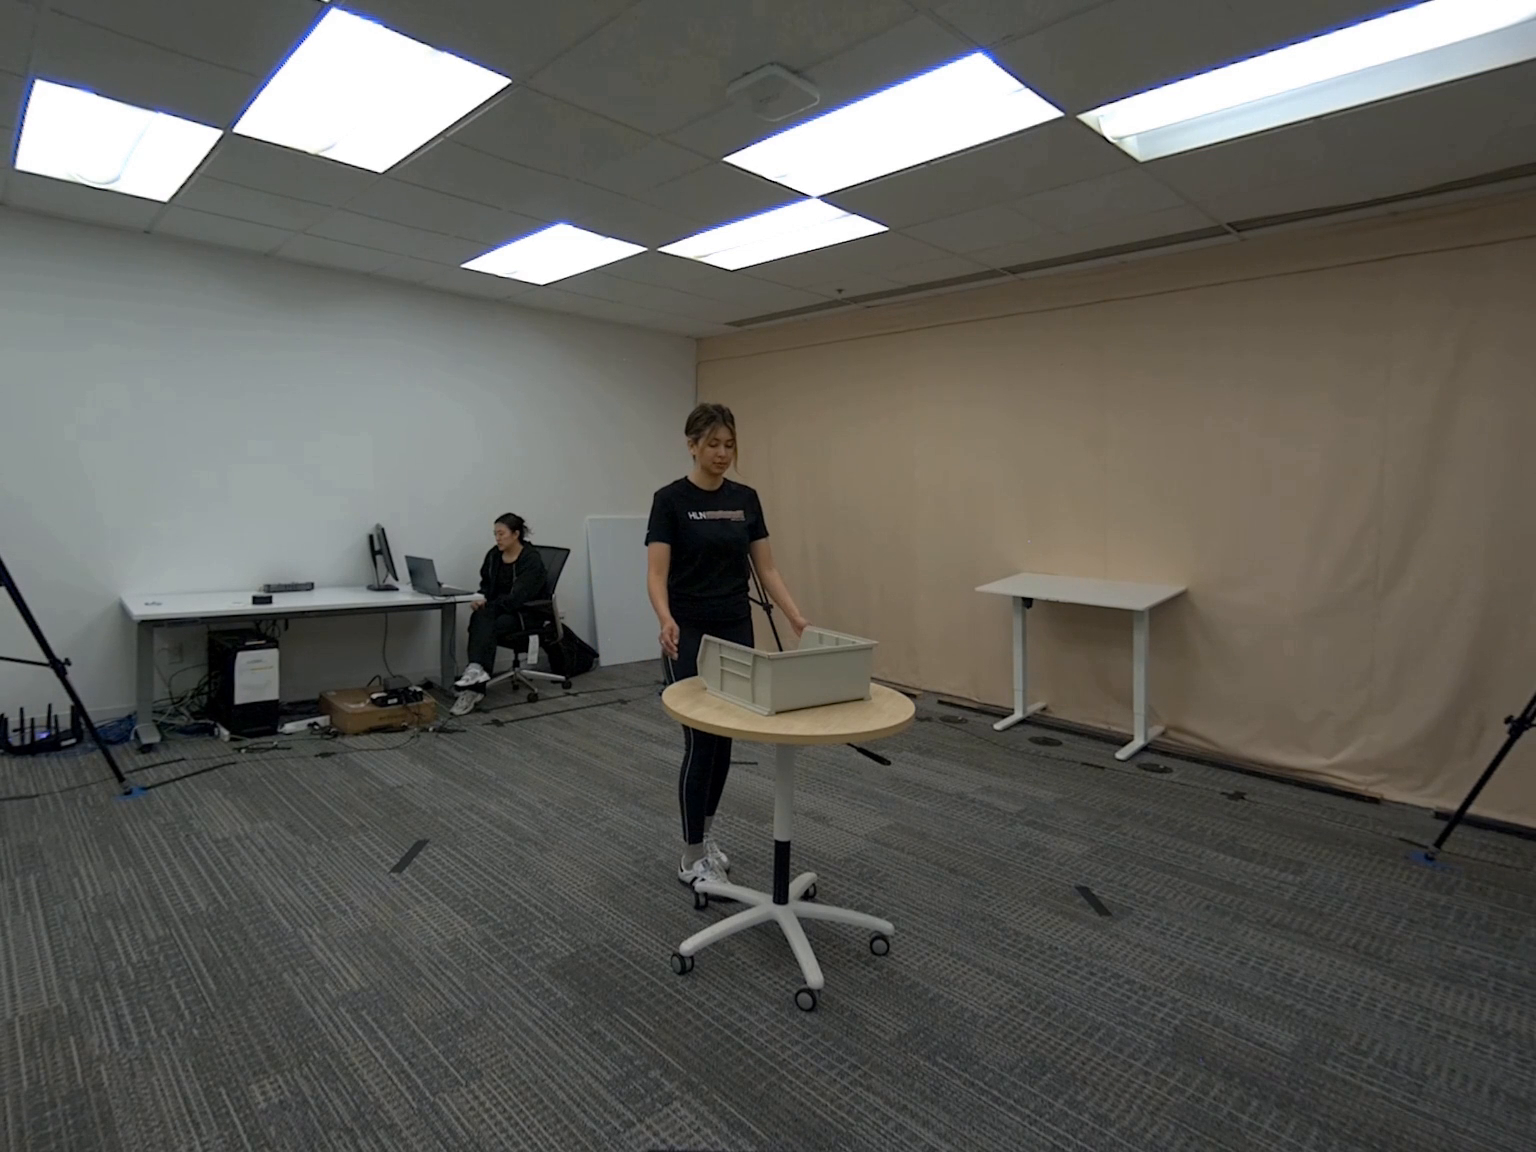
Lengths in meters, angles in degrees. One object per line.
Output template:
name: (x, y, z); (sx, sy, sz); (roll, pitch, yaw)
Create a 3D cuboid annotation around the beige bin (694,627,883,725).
beige bin: (0.058, 0.287, 2.601); (0.413, 0.188, 0.387); (-1, 7, -37)
